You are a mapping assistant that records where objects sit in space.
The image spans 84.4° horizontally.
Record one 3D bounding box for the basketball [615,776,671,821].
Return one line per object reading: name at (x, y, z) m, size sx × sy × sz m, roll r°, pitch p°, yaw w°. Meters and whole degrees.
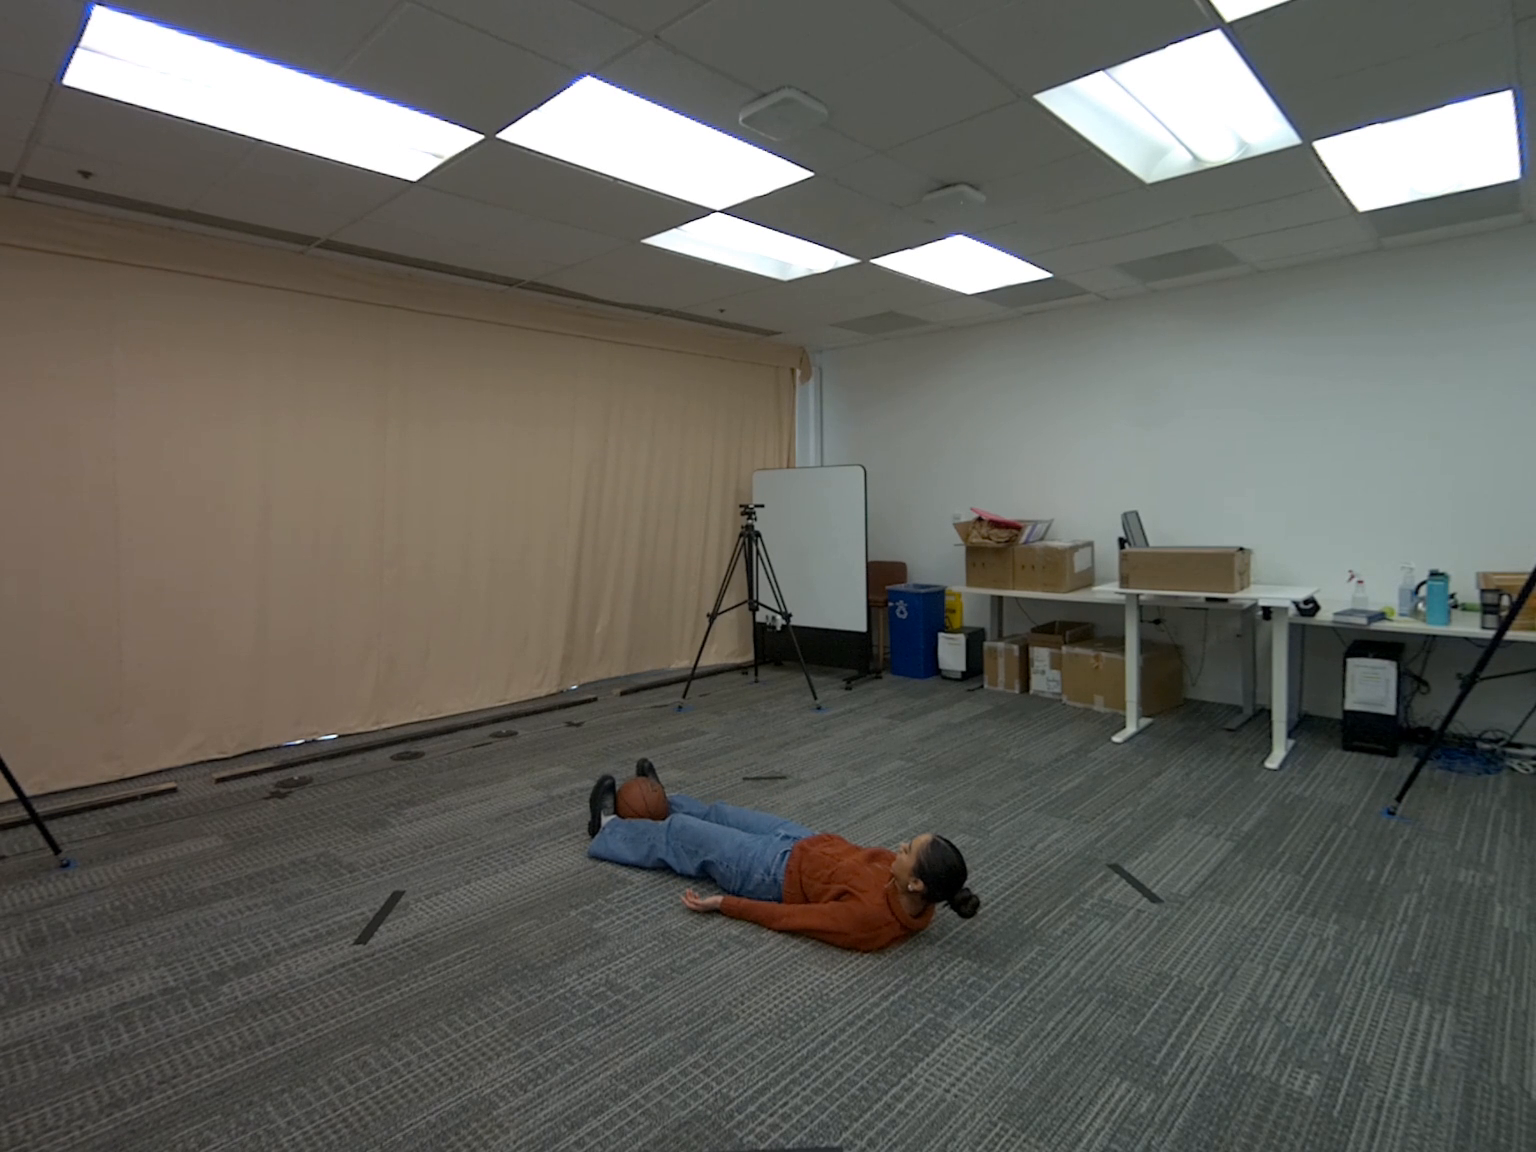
basketball at (-0.543, 0.987, 3.599) m, size 0.236 × 0.235 × 0.237 m, roll -1°, pitch 4°, yaw -2°
